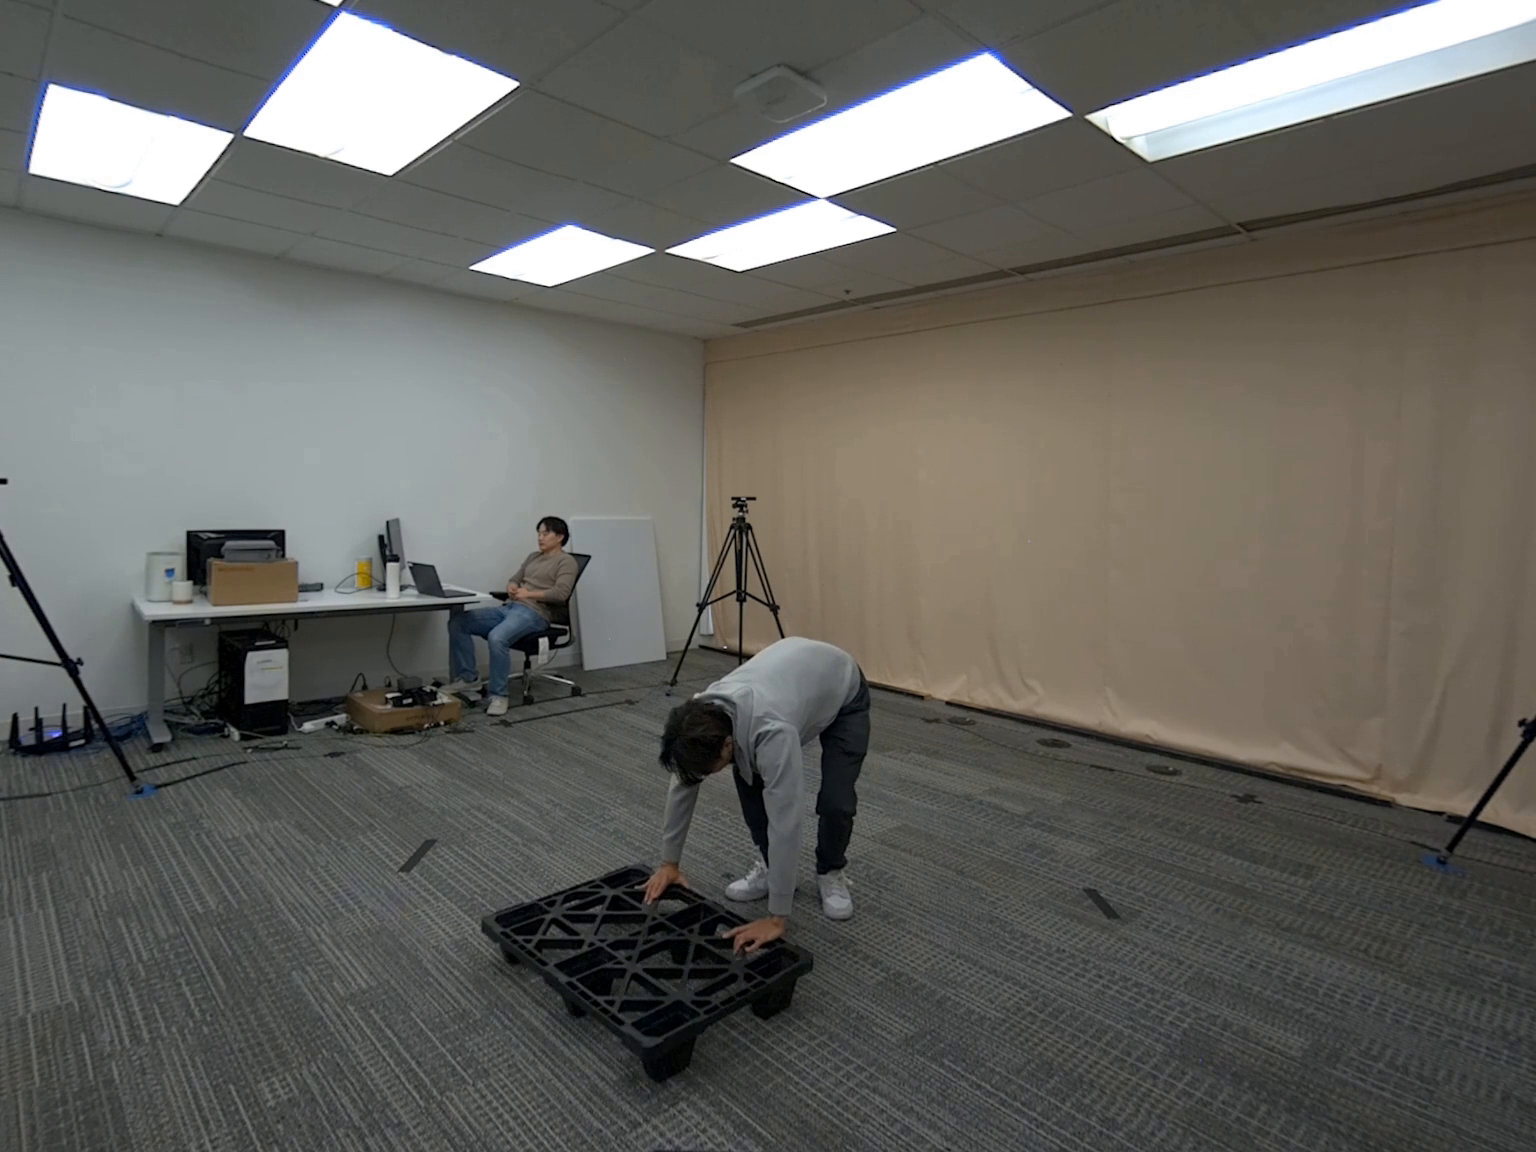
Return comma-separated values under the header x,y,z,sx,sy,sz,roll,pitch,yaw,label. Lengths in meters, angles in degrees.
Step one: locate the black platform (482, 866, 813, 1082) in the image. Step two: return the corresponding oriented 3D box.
x,y,z,sx,sy,sz,roll,pitch,yaw,label
-0.364,1.097,2.407,0.826,0.143,0.592,6,8,44,black platform
